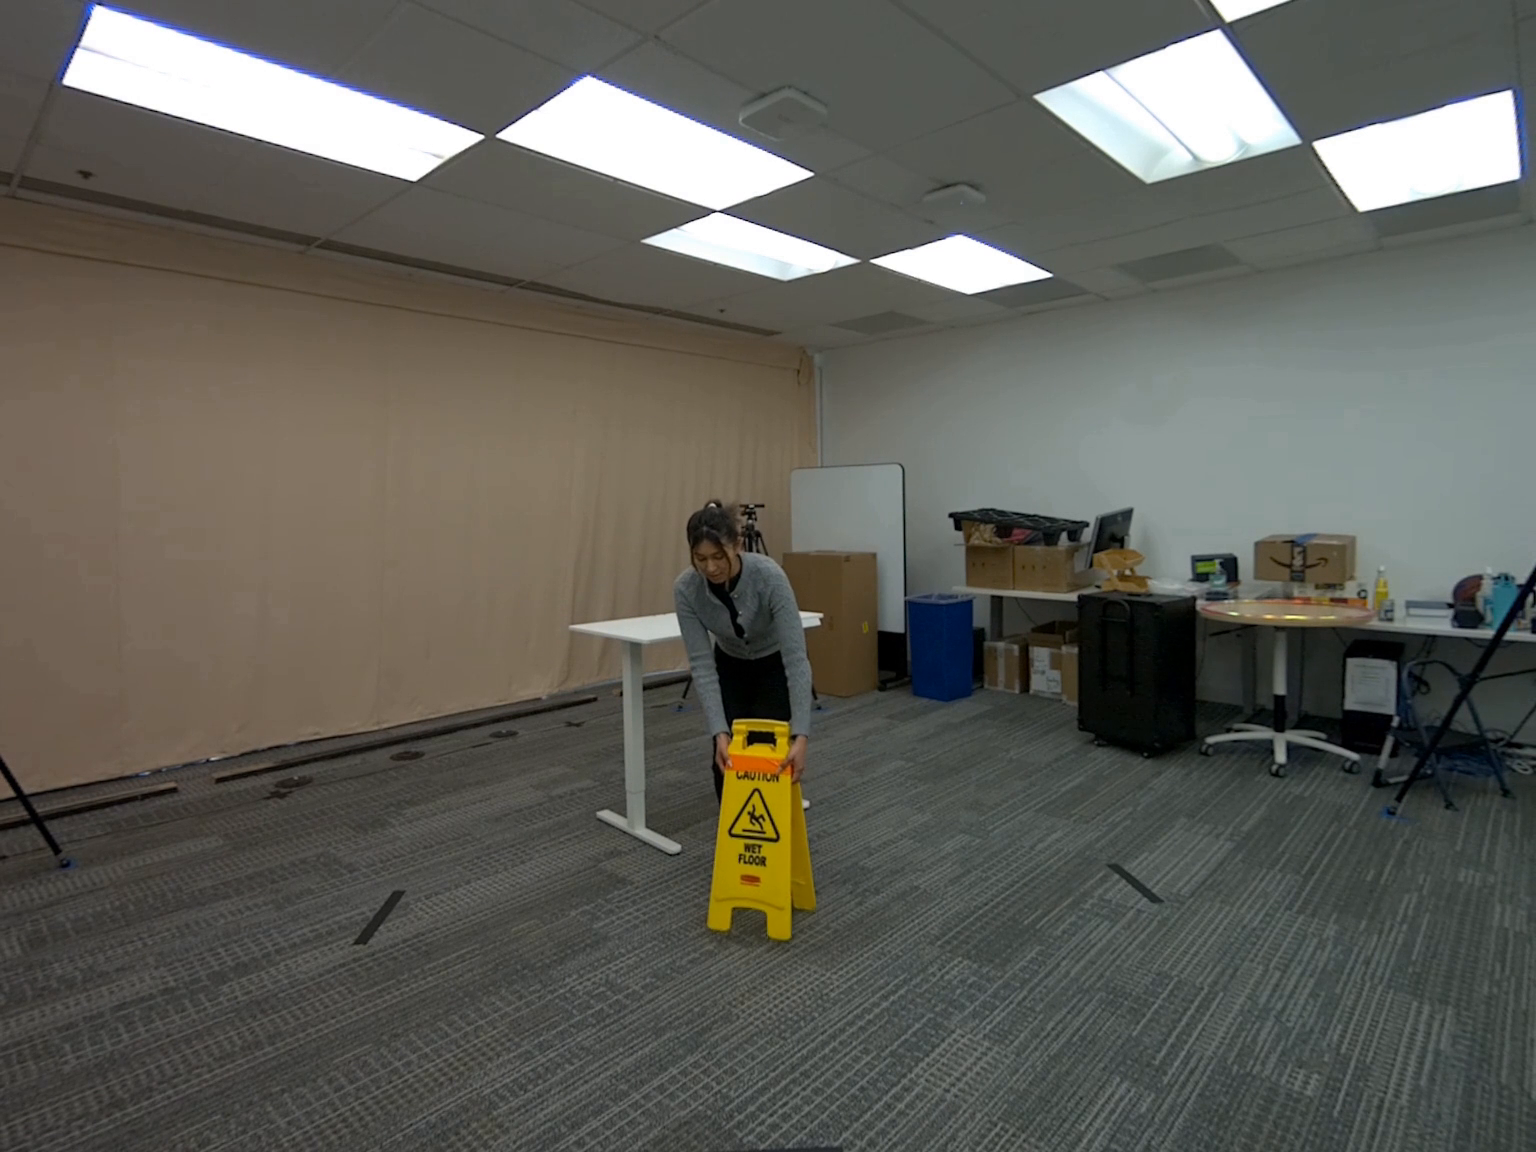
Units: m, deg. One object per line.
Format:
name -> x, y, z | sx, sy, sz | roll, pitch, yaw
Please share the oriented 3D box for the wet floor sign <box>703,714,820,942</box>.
wet floor sign -> -0.019, 0.796, 2.790 | 0.288, 0.648, 0.283 | -3, -4, 21
